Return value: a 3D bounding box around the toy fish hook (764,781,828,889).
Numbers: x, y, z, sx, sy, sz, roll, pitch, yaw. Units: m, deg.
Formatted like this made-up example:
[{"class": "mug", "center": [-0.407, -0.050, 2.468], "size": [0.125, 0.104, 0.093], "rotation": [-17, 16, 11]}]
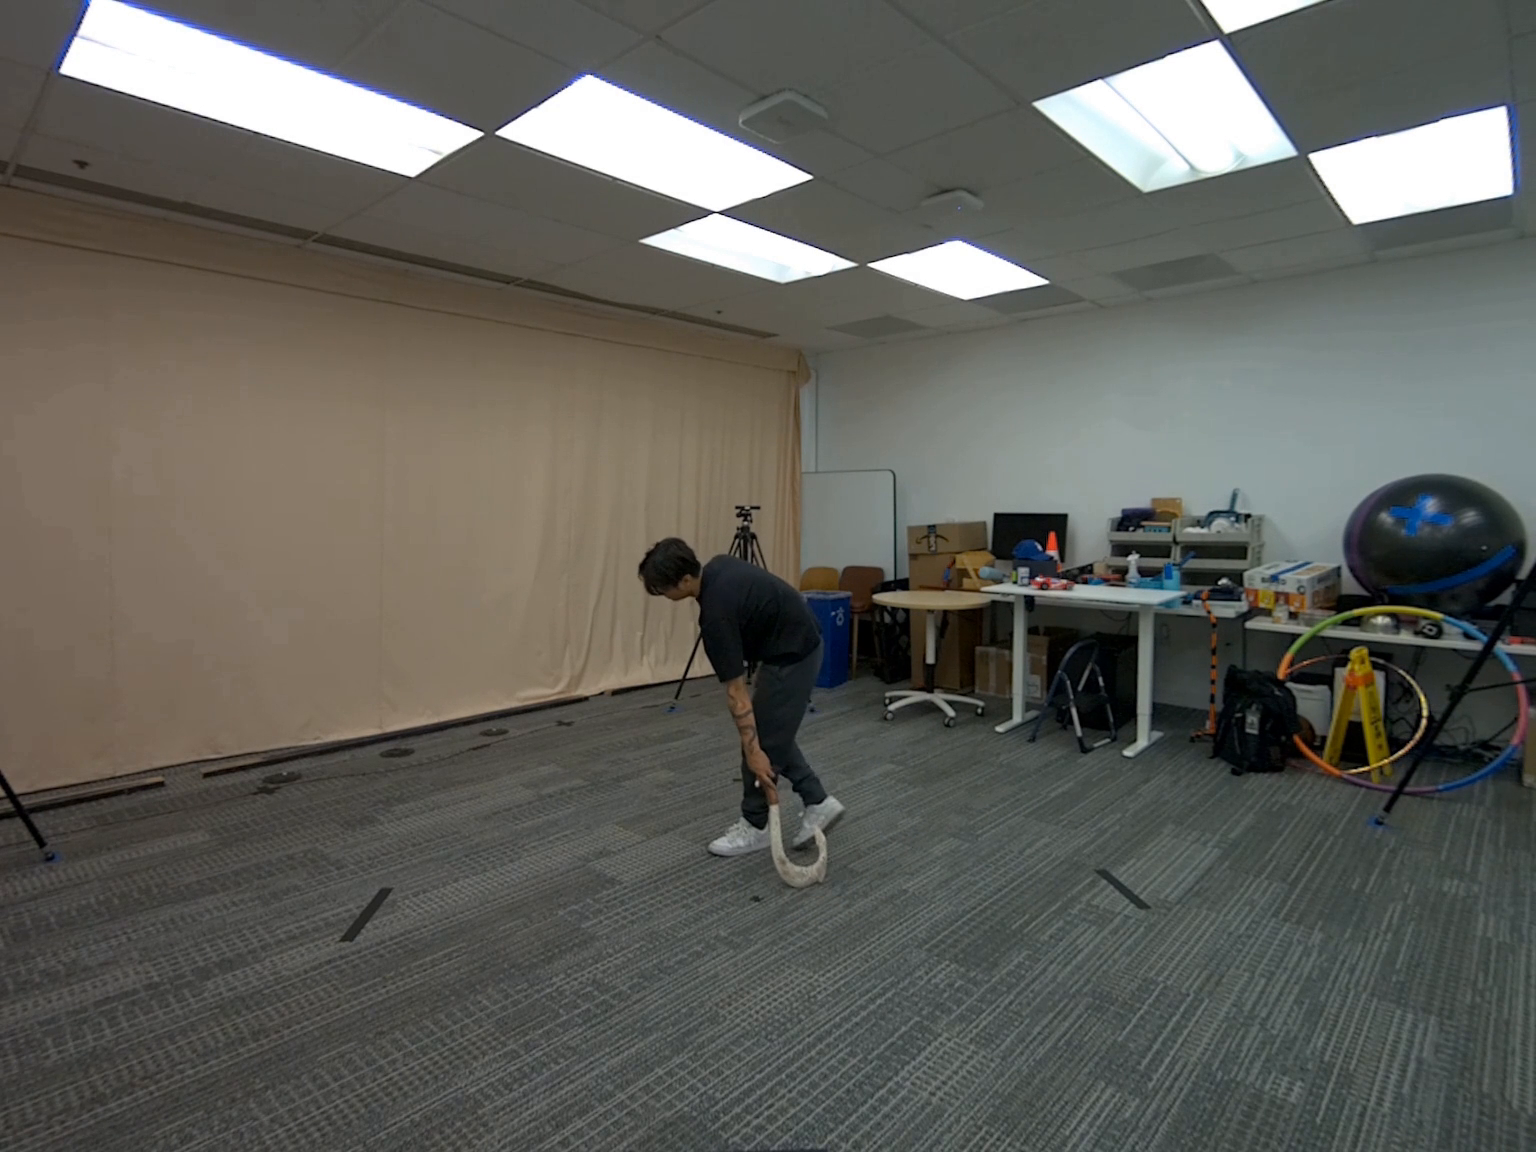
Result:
[{"class": "toy fish hook", "center": [0.082, 0.904, 3.178], "size": [0.219, 0.516, 0.049], "rotation": [-6, -24, -30]}]
